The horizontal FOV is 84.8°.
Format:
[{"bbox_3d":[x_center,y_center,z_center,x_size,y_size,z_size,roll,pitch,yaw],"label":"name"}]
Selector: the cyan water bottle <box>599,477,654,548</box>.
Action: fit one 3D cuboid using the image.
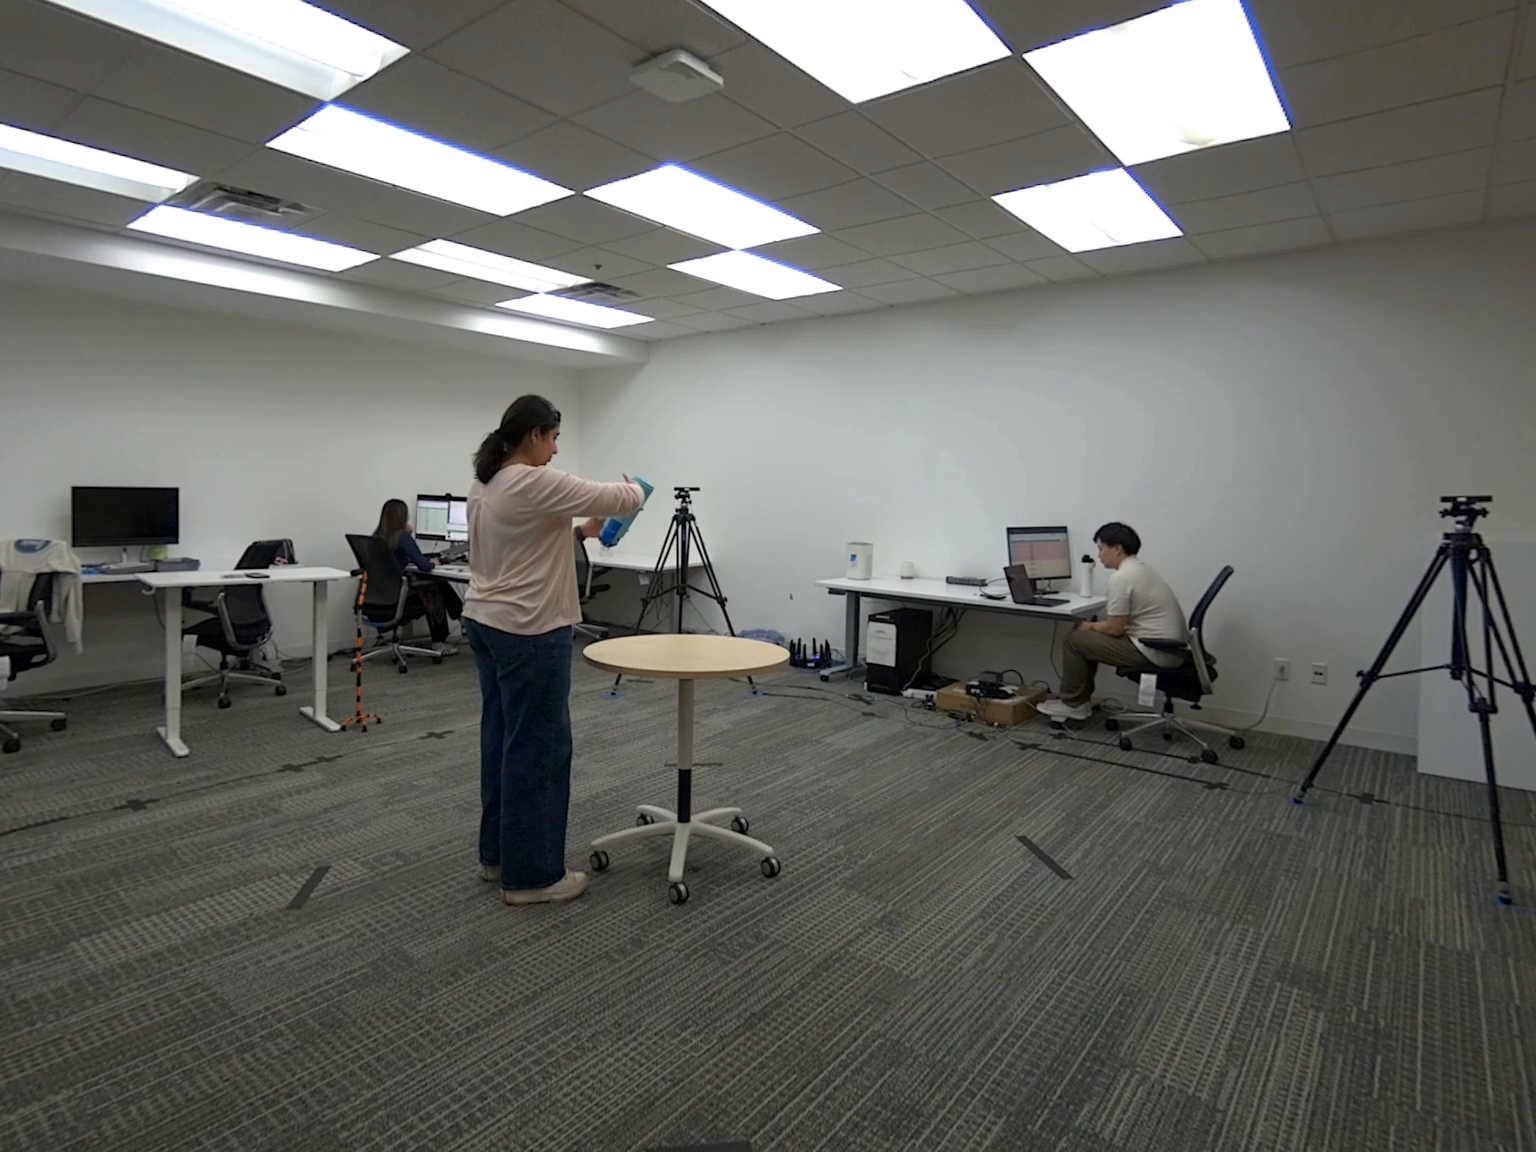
[{"bbox_3d":[-0.548,-0.233,3.130,0.092,0.283,0.093,31,4,-5],"label":"cyan water bottle"}]
